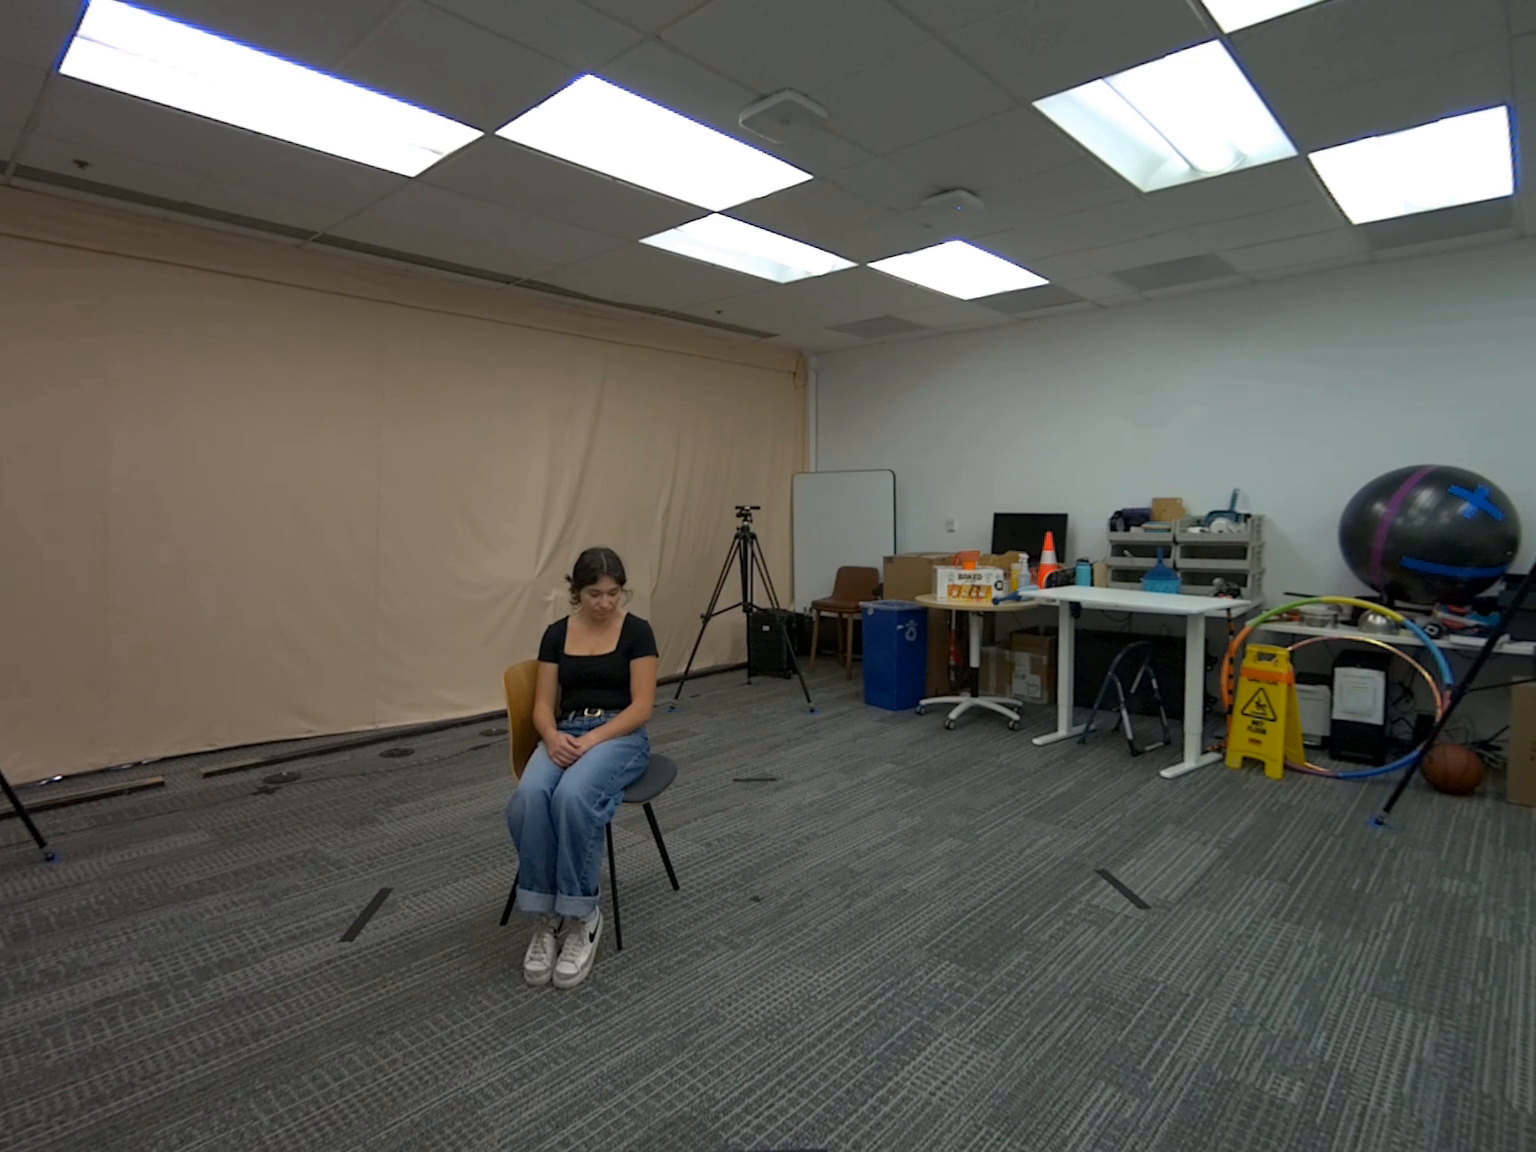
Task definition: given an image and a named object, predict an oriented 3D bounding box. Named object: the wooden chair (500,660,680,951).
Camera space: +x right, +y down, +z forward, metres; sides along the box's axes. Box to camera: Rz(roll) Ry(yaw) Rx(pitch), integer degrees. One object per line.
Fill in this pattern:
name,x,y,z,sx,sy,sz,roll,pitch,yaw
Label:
wooden chair,-0.605,0.730,2.907,0.534,0.876,0.469,-4,3,20
